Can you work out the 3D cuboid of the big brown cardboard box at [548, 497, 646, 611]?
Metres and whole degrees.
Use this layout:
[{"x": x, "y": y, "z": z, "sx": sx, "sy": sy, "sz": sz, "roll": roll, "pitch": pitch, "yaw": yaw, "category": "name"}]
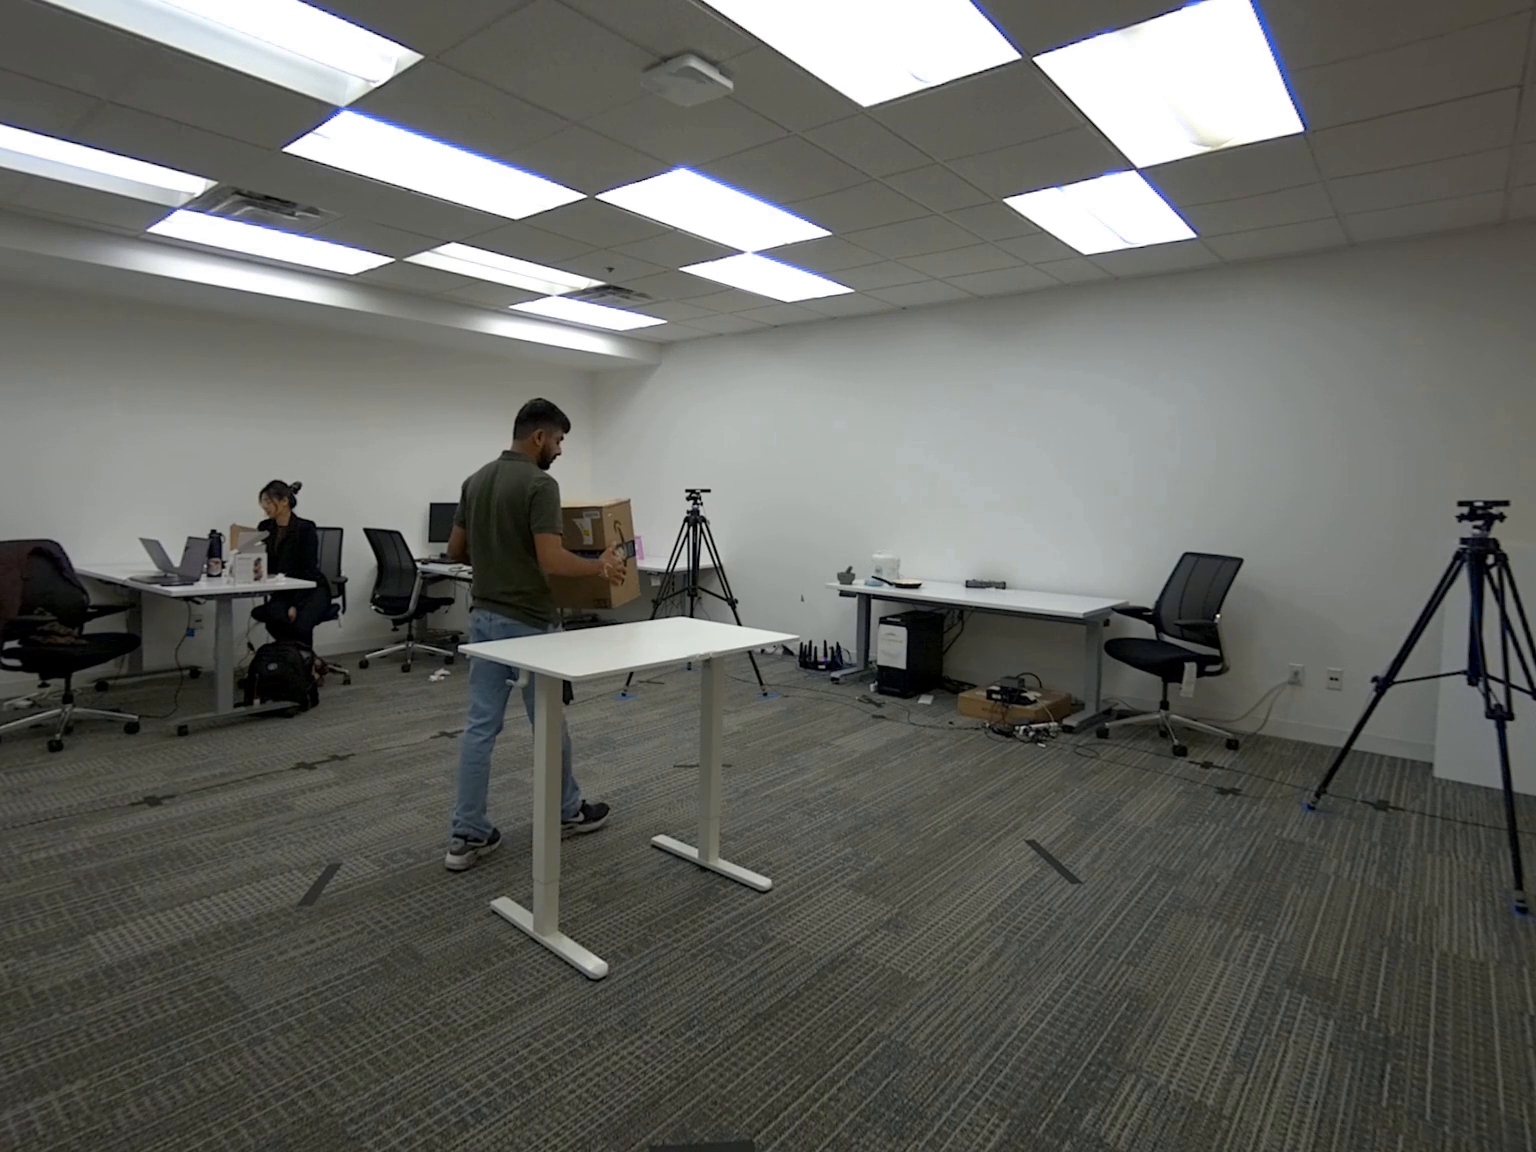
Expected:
[{"x": -0.850, "y": -0.101, "z": 3.537, "sx": 0.604, "sy": 0.413, "sz": 0.229, "roll": 1, "pitch": 11, "yaw": 27, "category": "big brown cardboard box"}]
